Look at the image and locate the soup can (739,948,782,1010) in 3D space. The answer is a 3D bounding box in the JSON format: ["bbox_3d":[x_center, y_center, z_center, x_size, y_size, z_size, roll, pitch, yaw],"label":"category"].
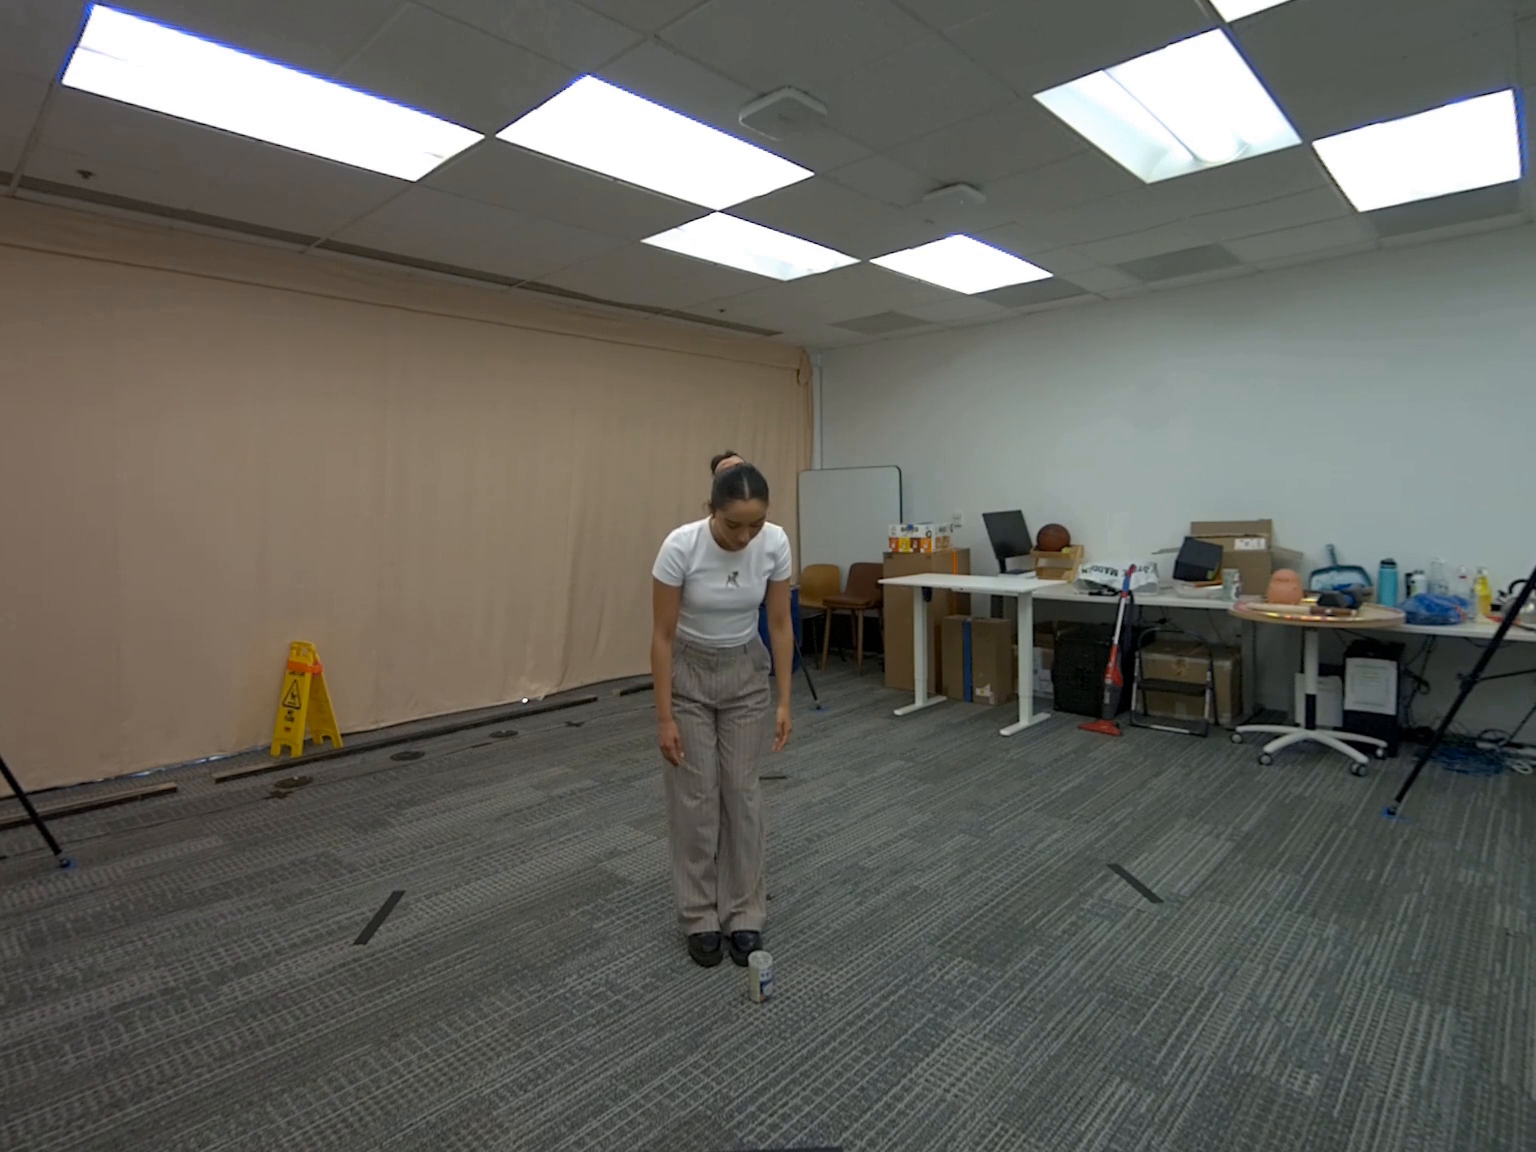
[{"bbox_3d":[-0.022,1.125,2.391,0.067,0.121,0.067,-1,7,-2],"label":"soup can"}]
